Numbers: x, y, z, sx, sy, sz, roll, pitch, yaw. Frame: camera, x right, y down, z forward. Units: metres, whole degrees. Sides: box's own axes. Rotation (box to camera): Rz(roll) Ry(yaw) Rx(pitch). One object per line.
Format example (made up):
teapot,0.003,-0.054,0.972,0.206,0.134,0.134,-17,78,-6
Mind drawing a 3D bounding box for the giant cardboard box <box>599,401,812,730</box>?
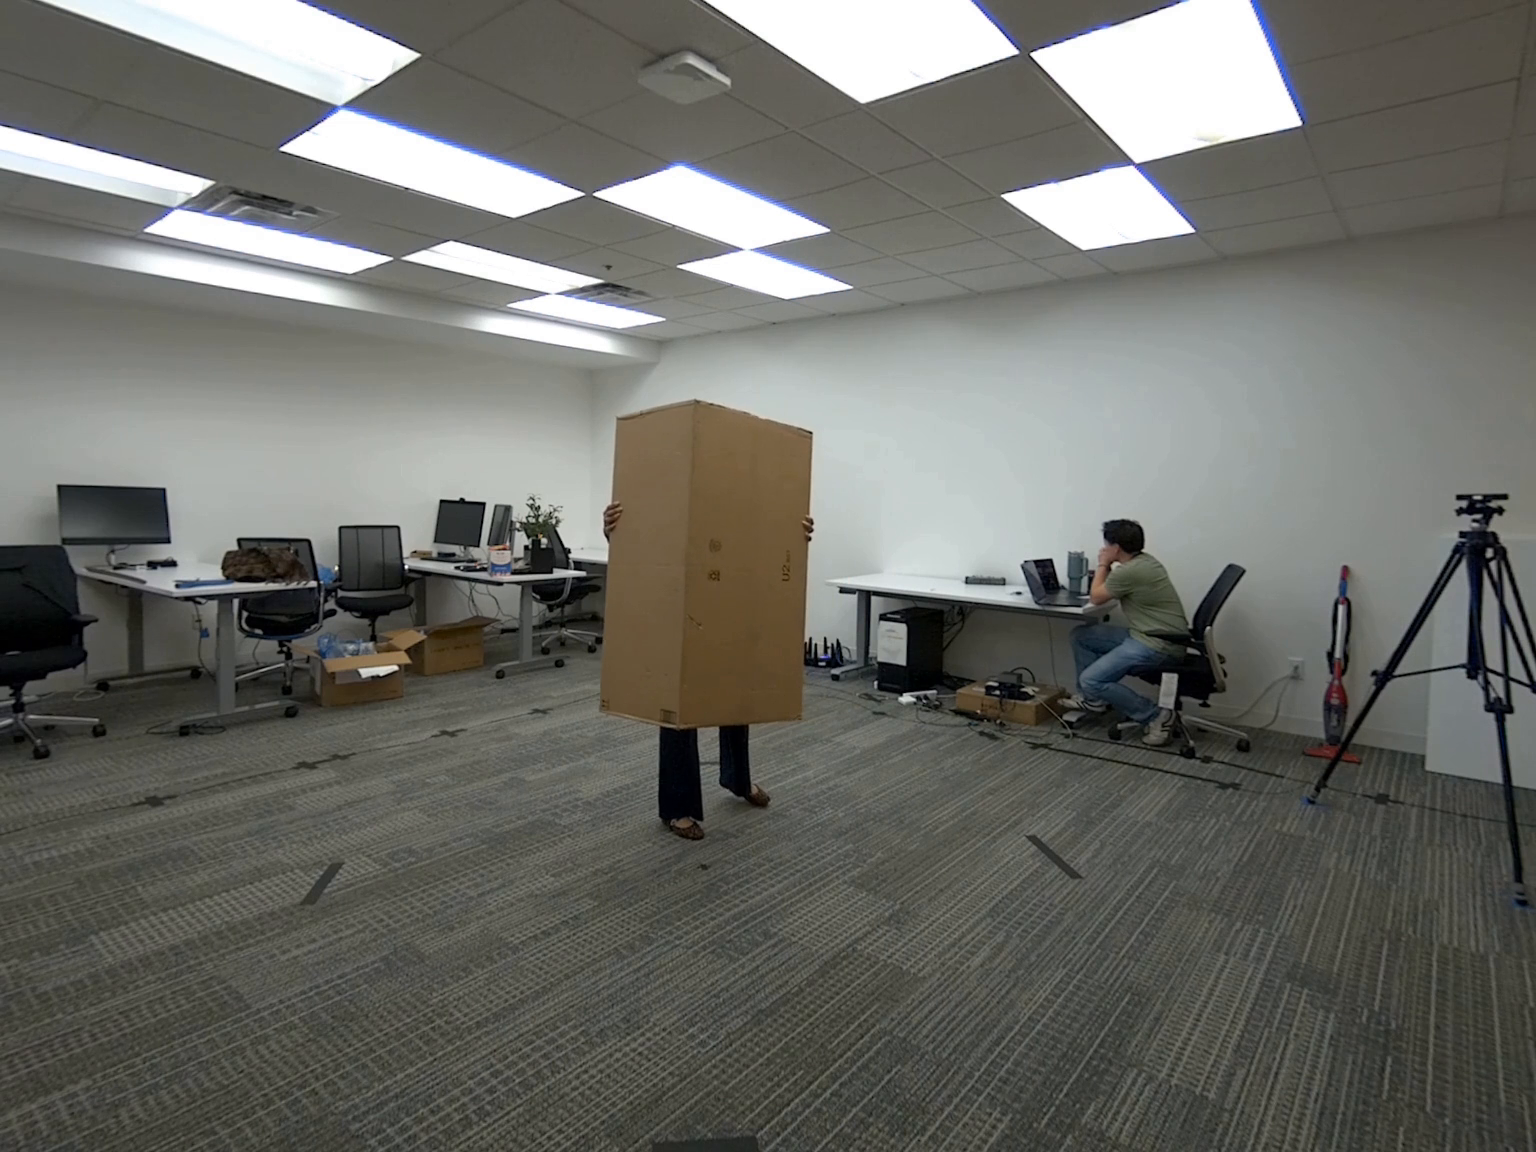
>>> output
giant cardboard box,-0.207,-0.027,2.970,0.557,1.030,0.439,7,-6,-45
